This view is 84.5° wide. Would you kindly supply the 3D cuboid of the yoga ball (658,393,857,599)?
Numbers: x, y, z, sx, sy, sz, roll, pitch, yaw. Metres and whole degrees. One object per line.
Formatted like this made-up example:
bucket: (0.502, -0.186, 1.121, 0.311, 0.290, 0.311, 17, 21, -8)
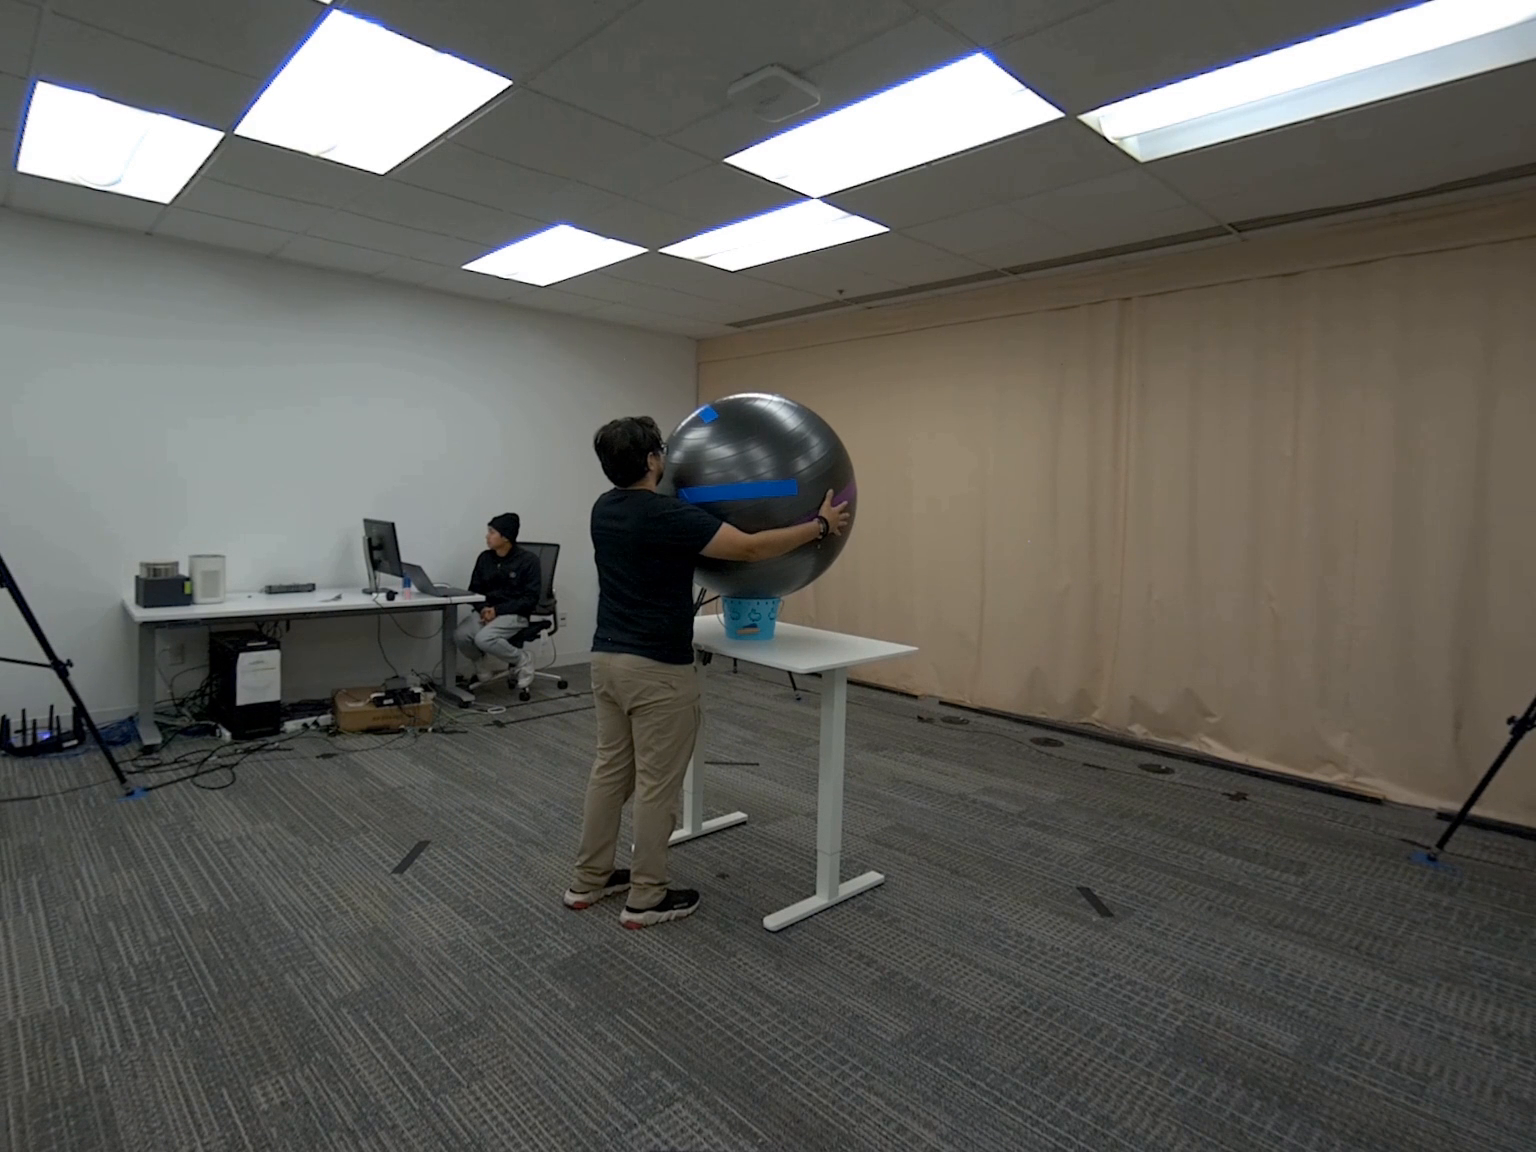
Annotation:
yoga ball: (-0.051, -0.281, 3.084, 0.757, 0.756, 0.761, 1, 4, -1)
